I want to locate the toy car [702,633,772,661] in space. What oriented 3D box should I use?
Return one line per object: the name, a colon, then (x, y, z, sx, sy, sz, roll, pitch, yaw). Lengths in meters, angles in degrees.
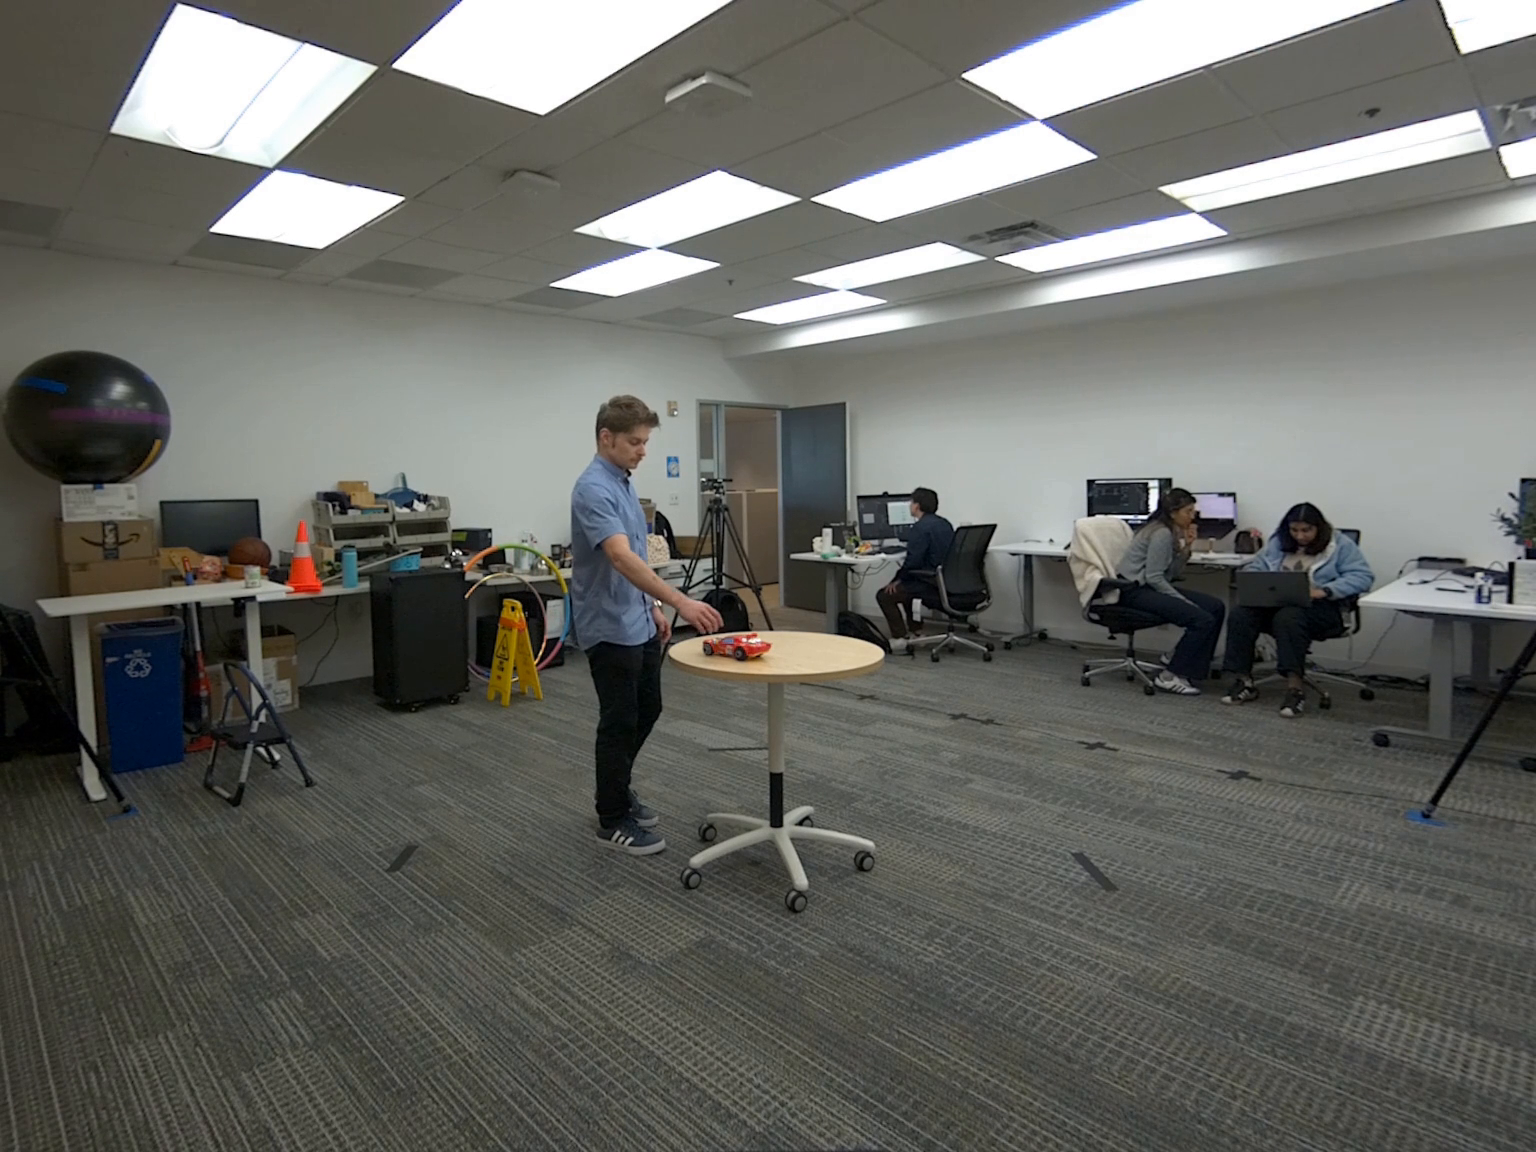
toy car: (-0.099, 0.247, 2.943, 0.260, 0.083, 0.127, -9, -1, 40)
